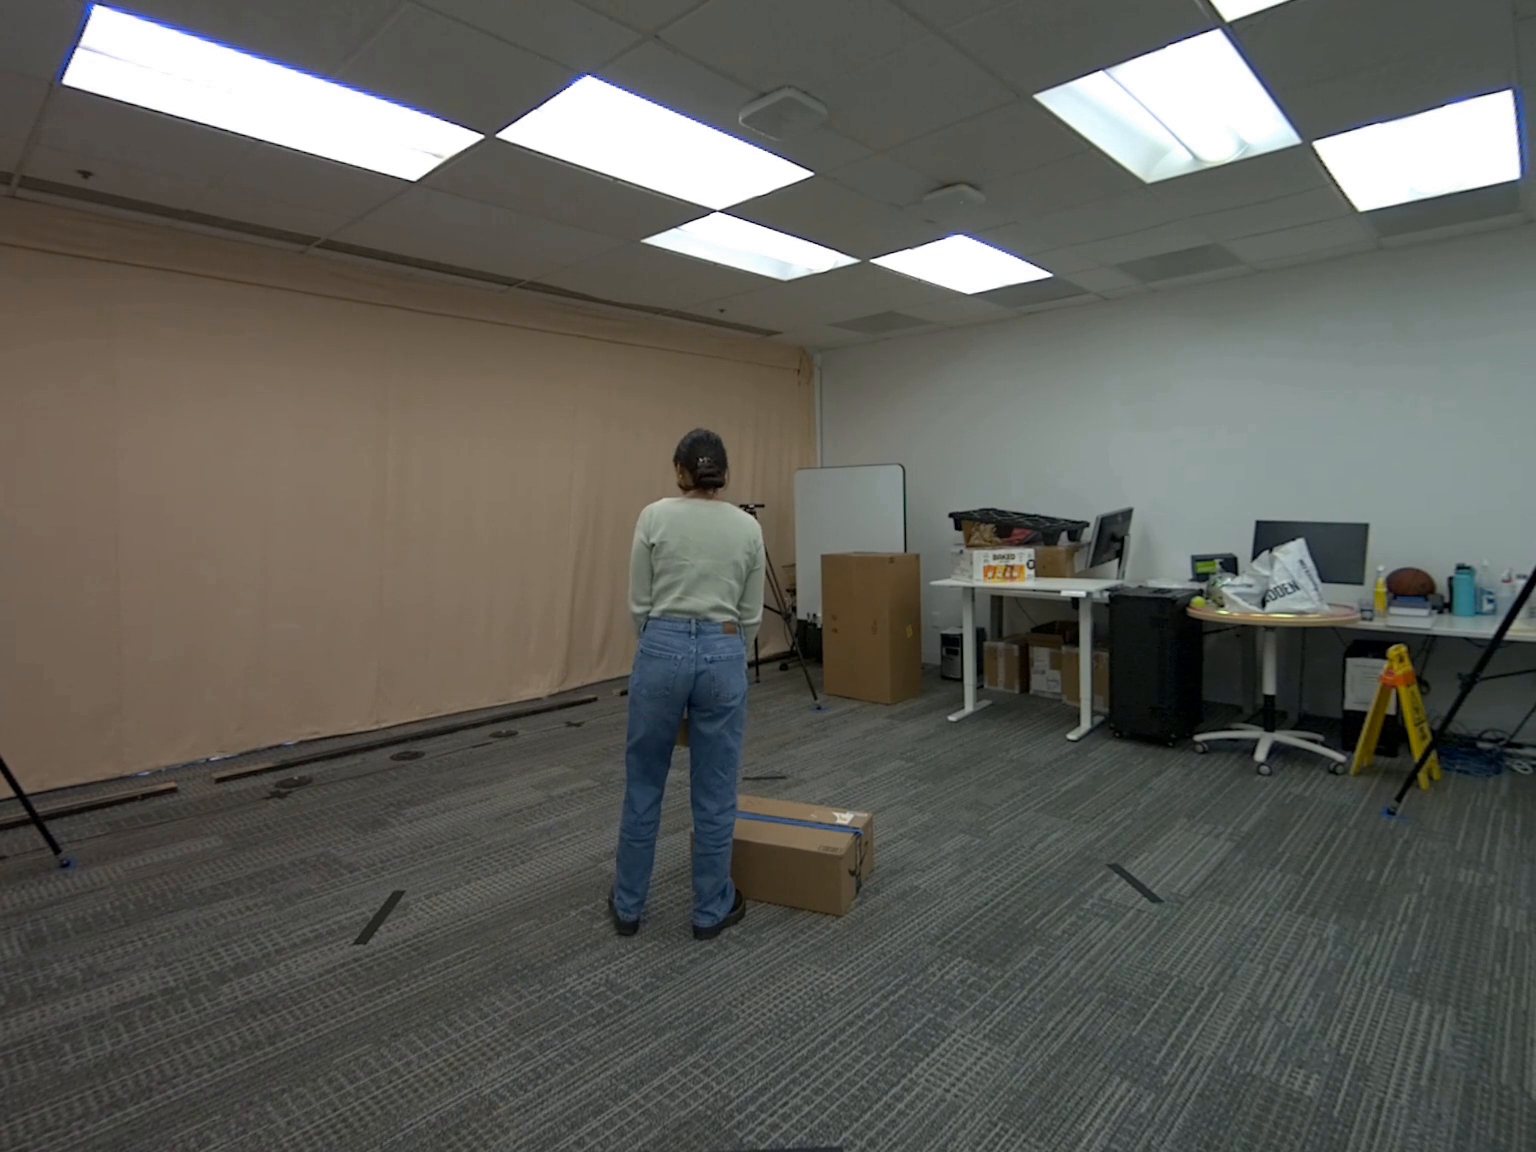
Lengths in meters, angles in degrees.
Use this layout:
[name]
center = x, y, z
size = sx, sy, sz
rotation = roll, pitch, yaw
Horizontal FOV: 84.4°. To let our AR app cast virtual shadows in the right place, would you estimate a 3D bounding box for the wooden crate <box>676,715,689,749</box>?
[wooden crate]
center = -0.237, 0.458, 2.967
size = 0.300, 0.274, 0.326
rotation = 8, -6, -7
